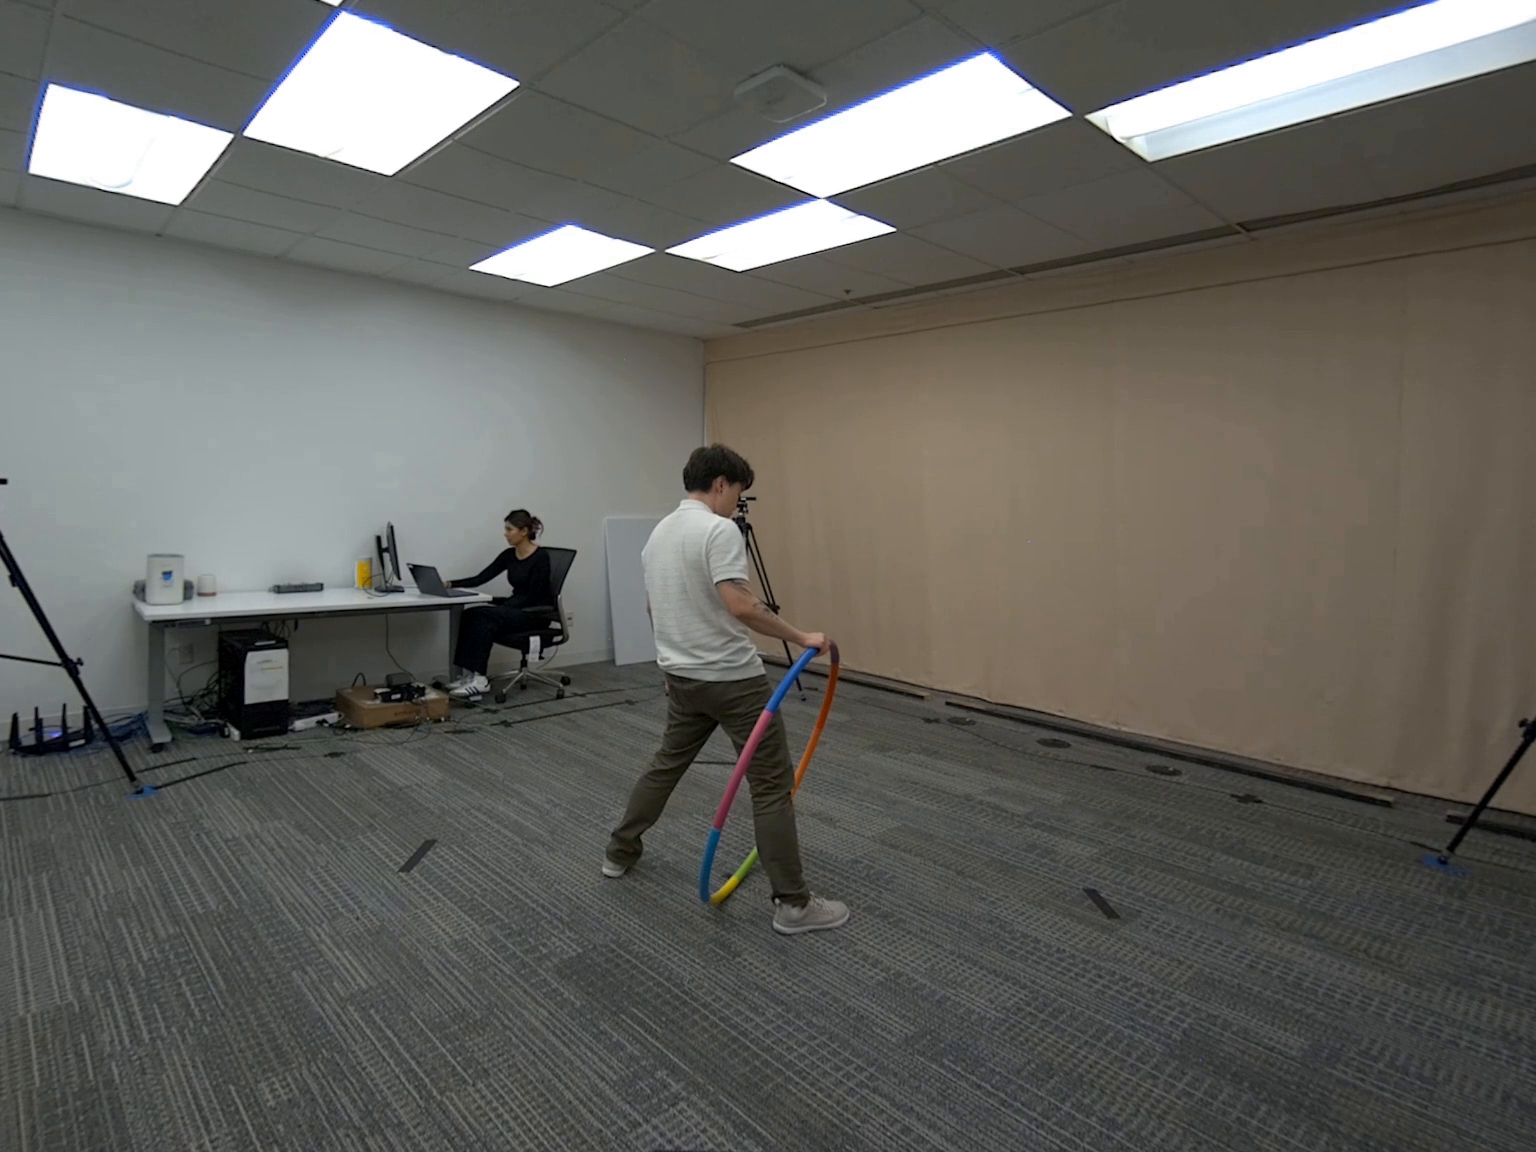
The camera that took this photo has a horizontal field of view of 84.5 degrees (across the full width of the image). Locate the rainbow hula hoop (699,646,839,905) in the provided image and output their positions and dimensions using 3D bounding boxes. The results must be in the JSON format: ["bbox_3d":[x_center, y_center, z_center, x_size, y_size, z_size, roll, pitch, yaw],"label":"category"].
[{"bbox_3d":[0.019,0.668,2.913,0.036,0.974,0.965,23,11,16],"label":"rainbow hula hoop"}]
